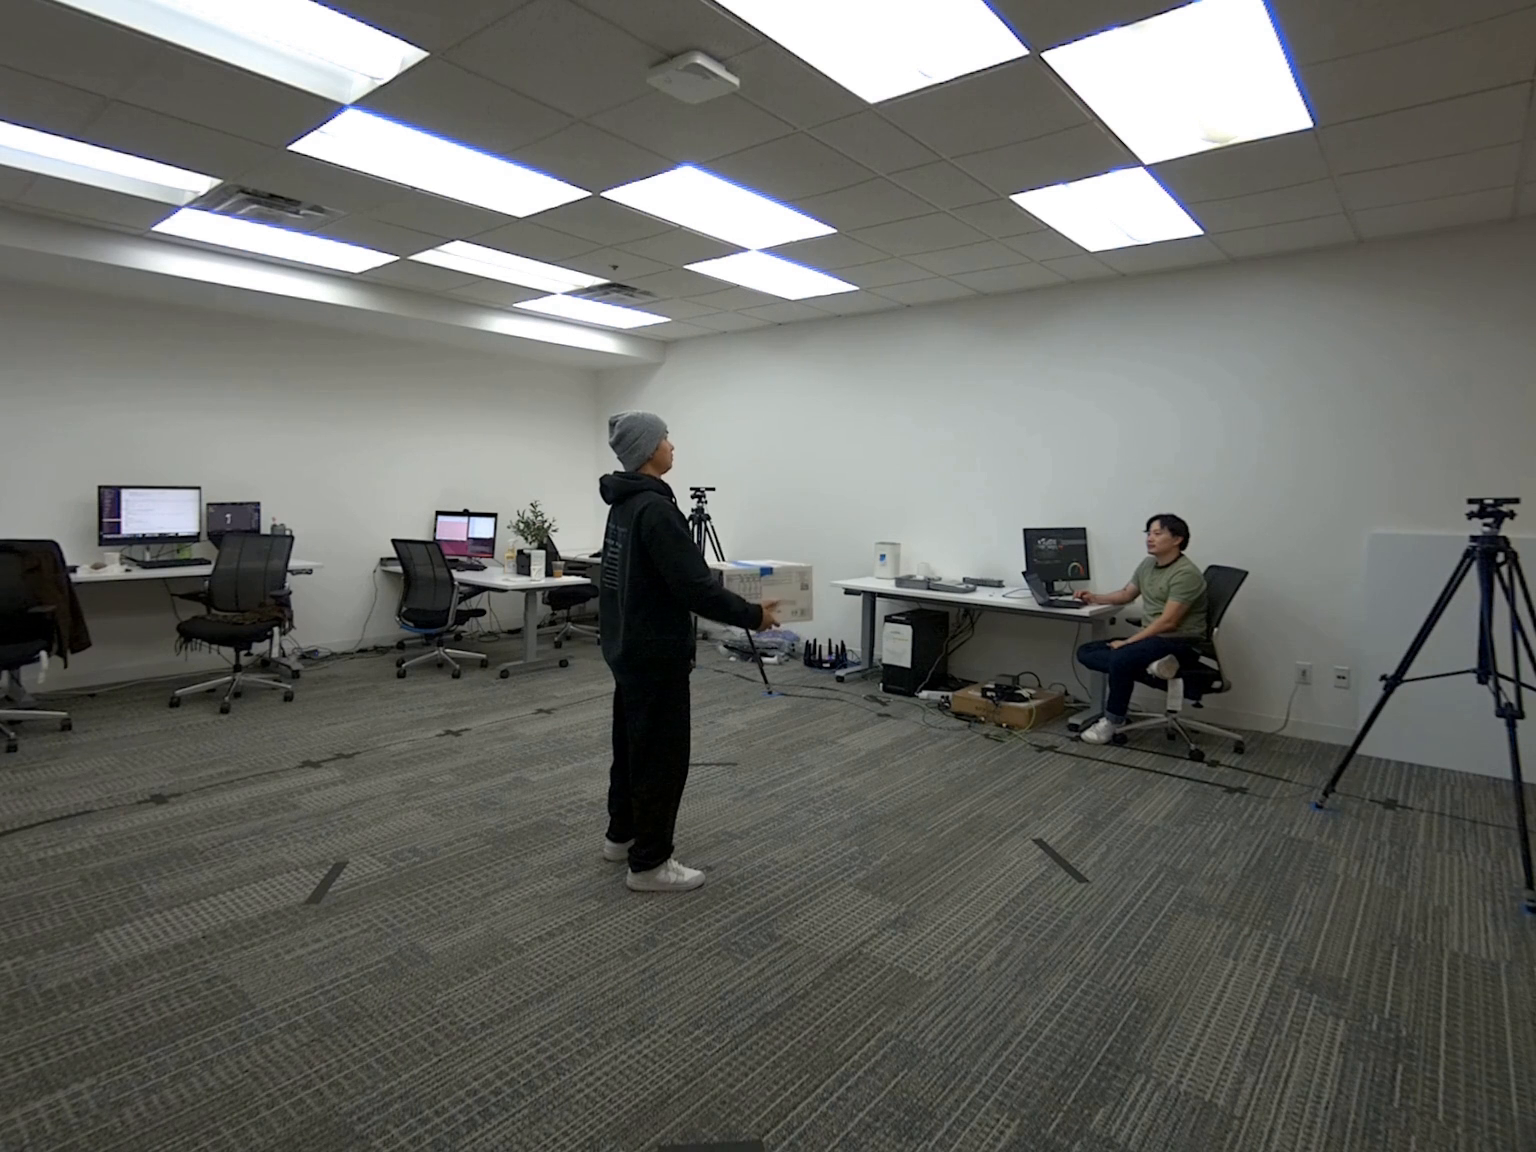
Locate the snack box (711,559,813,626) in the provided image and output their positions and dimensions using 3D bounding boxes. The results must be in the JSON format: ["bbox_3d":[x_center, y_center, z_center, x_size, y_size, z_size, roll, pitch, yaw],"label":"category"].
[{"bbox_3d":[-0.071,0.022,3.184,0.334,0.205,0.414,-3,4,-19],"label":"snack box"}]
